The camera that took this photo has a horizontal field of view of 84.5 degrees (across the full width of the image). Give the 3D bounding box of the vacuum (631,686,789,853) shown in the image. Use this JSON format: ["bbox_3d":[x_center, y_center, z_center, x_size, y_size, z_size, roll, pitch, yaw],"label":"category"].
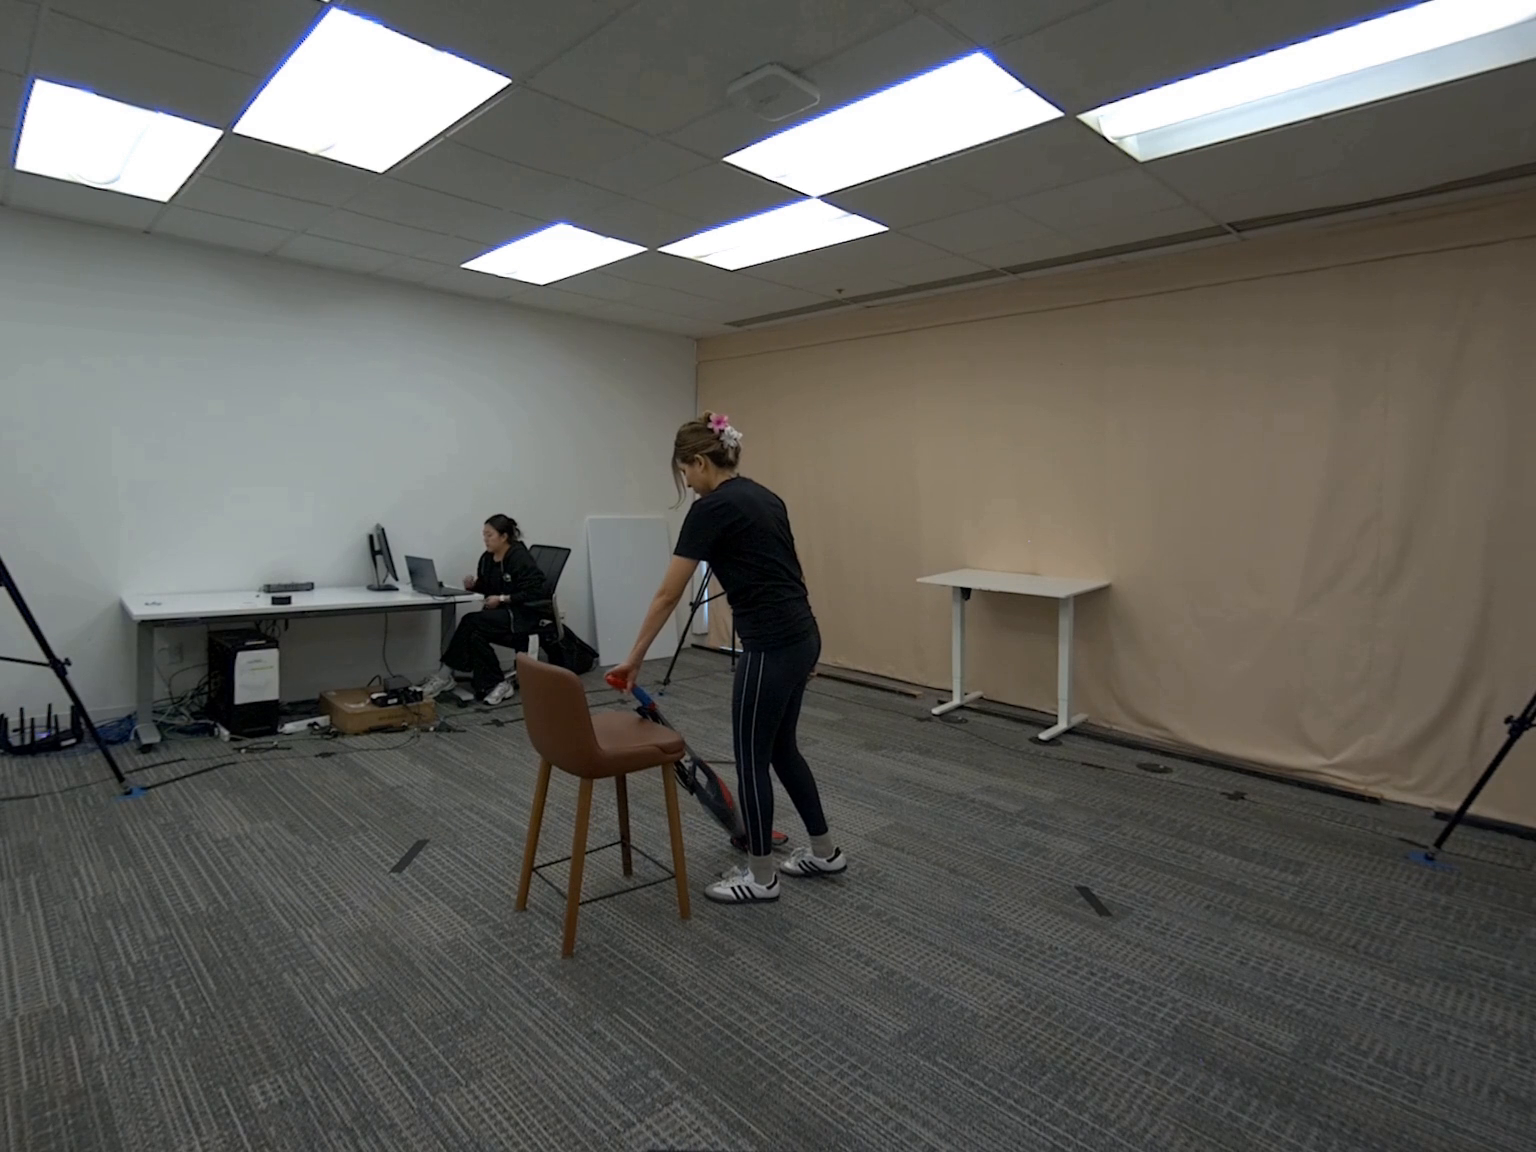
[{"bbox_3d":[-0.295,0.711,3.098,0.259,1.019,0.144,4,49,43],"label":"vacuum"}]
